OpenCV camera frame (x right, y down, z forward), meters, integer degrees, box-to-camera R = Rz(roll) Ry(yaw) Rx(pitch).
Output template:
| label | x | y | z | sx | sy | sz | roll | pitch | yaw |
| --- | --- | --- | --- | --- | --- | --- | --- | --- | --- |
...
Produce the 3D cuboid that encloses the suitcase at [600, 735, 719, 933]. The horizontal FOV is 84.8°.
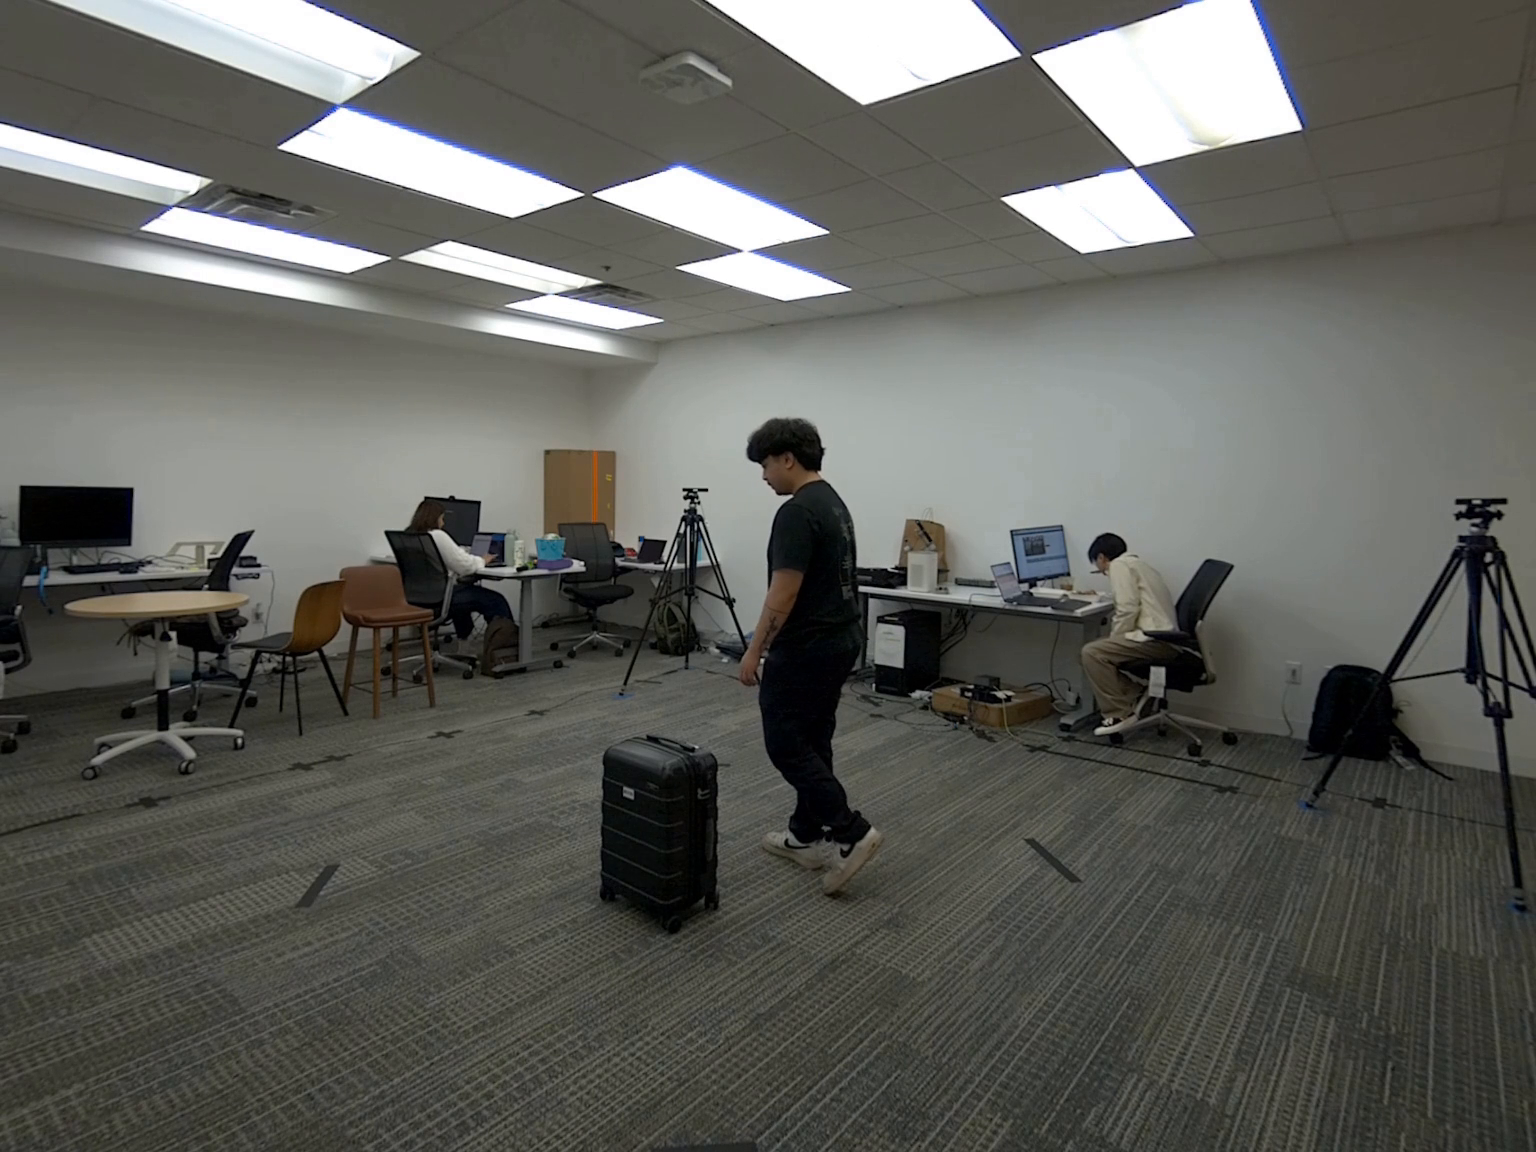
| label | x | y | z | sx | sy | sz | roll | pitch | yaw |
| --- | --- | --- | --- | --- | --- | --- | --- | --- | --- |
| suitcase | -0.367 | 0.824 | 2.802 | 0.388 | 0.547 | 0.241 | 4 | 6 | 40 |
